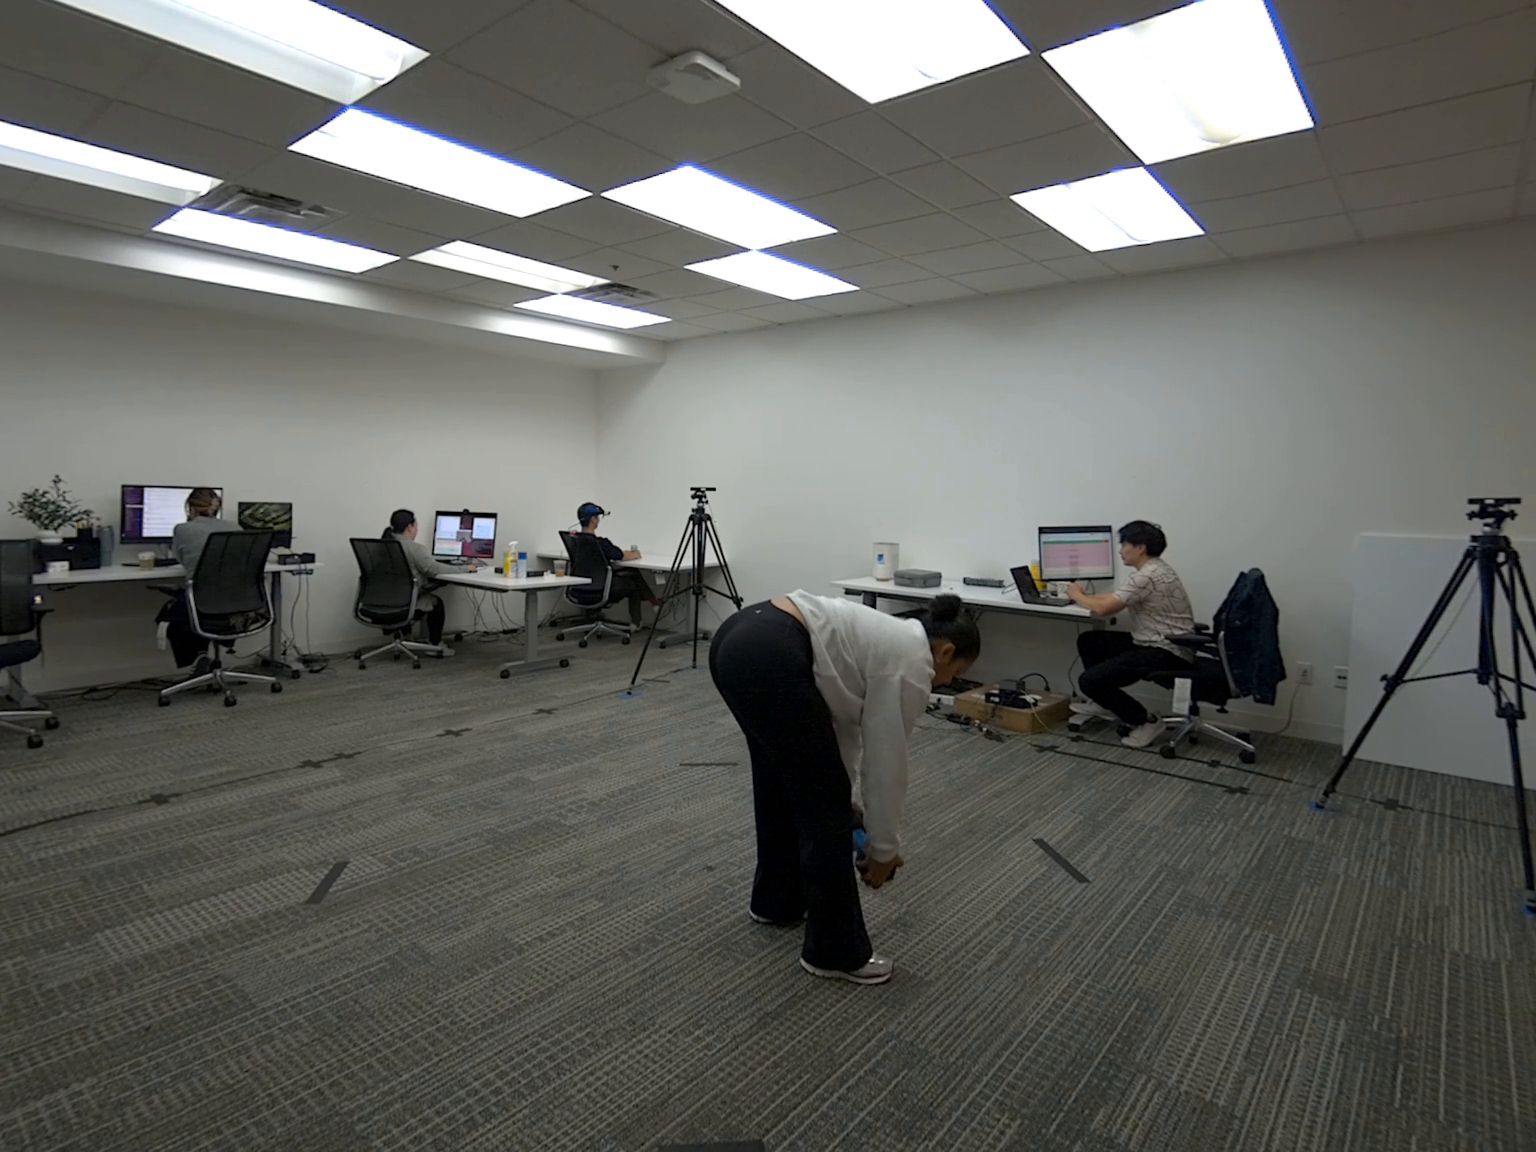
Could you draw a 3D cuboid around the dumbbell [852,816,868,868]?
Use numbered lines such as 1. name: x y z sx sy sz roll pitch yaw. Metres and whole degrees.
1. dumbbell: 0.274 0.842 2.657 0.121 0.108 0.299 47 -7 -15
